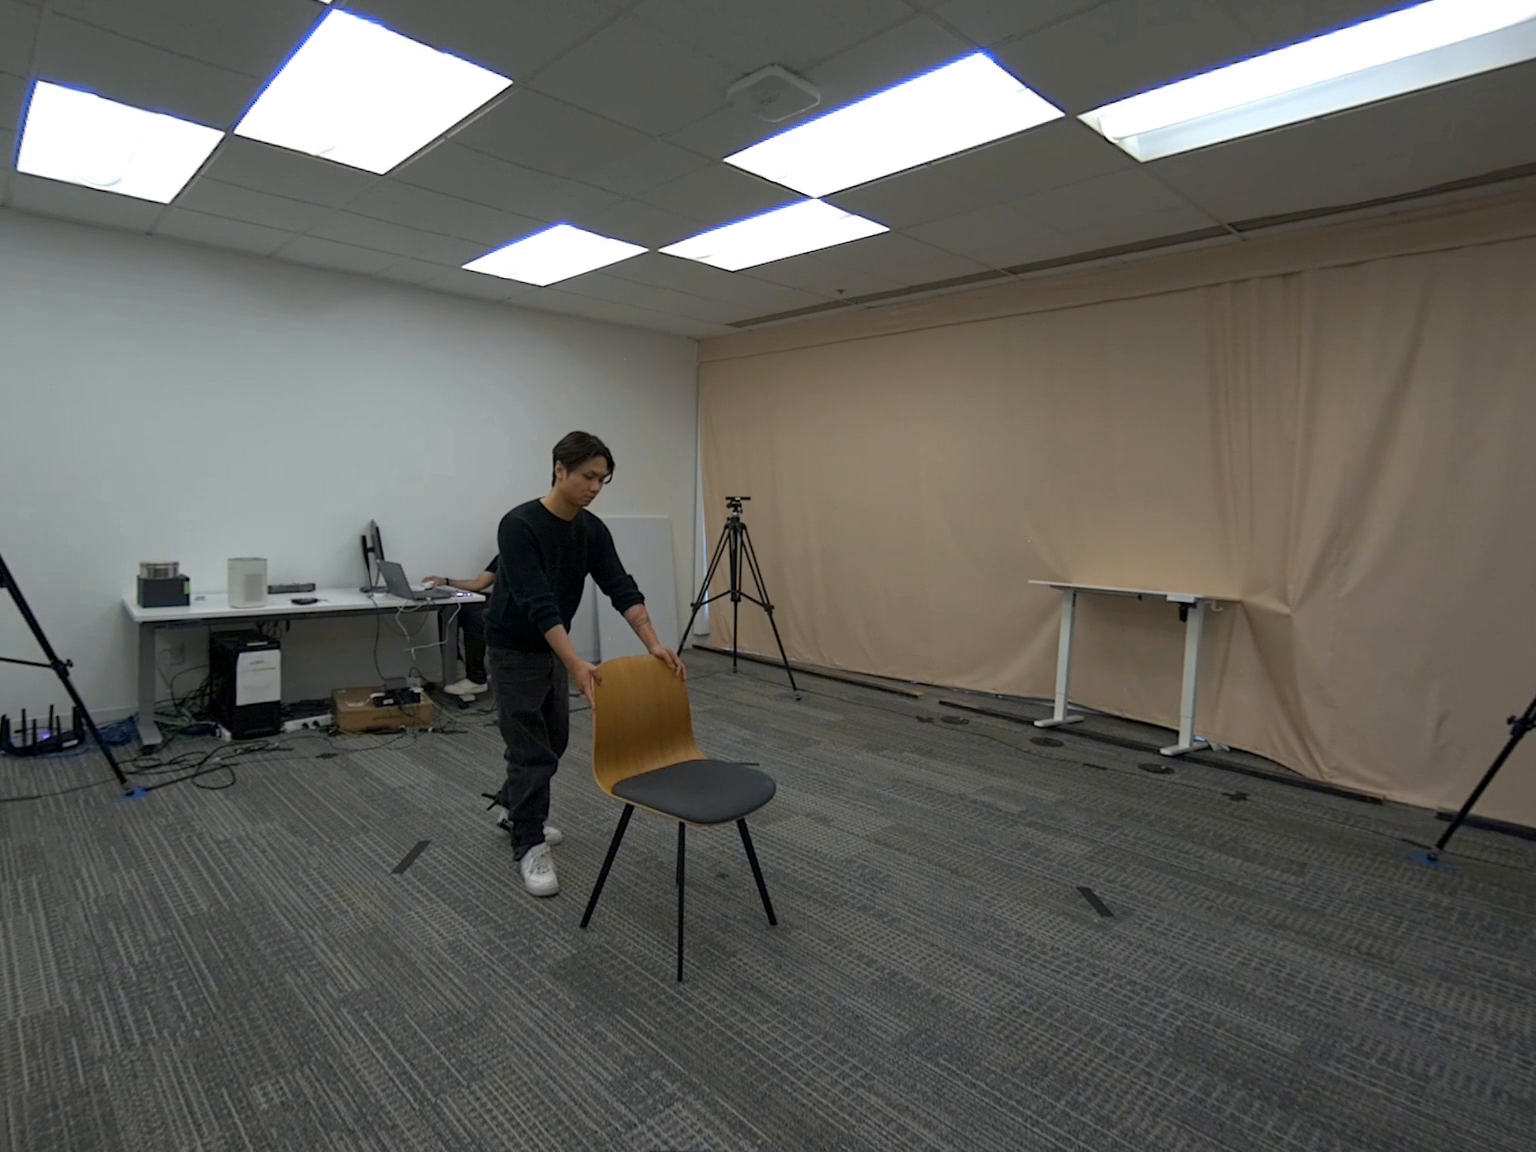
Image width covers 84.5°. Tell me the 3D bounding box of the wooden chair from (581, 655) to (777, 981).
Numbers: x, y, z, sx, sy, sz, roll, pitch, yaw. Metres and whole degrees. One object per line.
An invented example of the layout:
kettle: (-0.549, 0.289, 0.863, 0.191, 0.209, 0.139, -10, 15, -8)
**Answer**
wooden chair: (-0.277, 0.711, 2.693, 0.535, 0.877, 0.467, -2, 0, 40)
